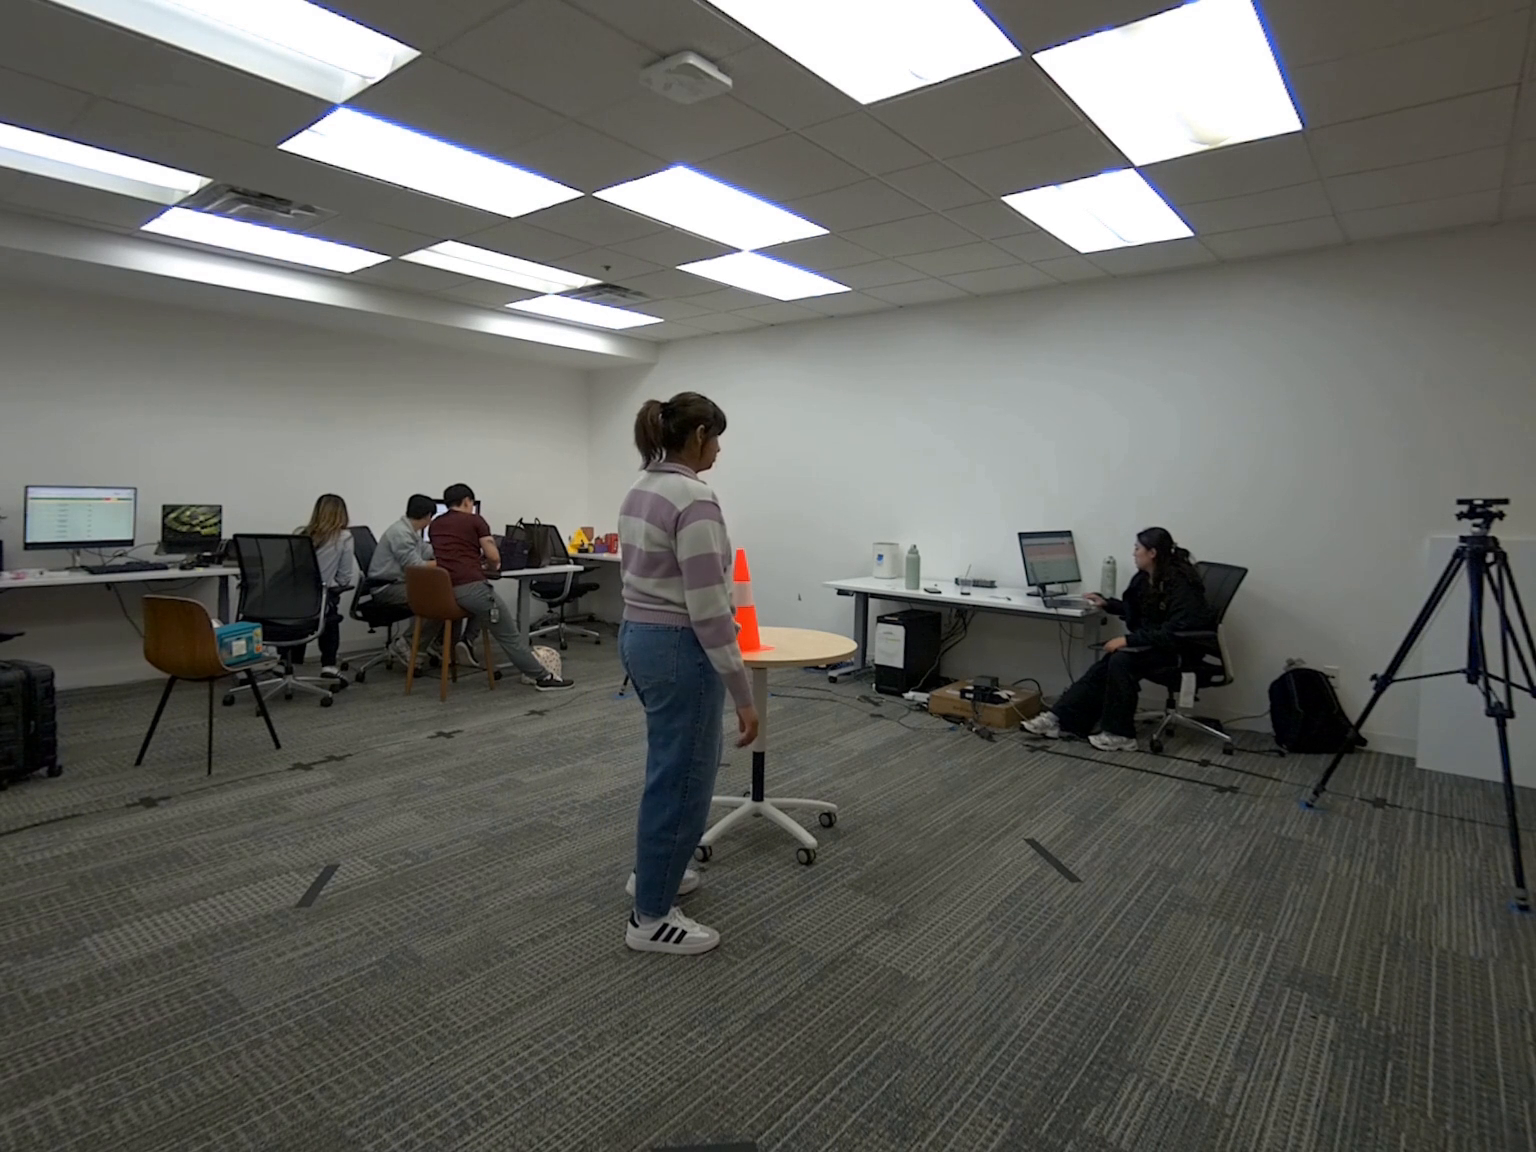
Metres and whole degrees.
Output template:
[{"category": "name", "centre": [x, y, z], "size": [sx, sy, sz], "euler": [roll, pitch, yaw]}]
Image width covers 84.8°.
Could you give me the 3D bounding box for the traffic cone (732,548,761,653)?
[{"category": "traffic cone", "centre": [-0.110, 0.086, 3.259], "size": [0.212, 0.382, 0.197], "euler": [5, 6, 40]}]
